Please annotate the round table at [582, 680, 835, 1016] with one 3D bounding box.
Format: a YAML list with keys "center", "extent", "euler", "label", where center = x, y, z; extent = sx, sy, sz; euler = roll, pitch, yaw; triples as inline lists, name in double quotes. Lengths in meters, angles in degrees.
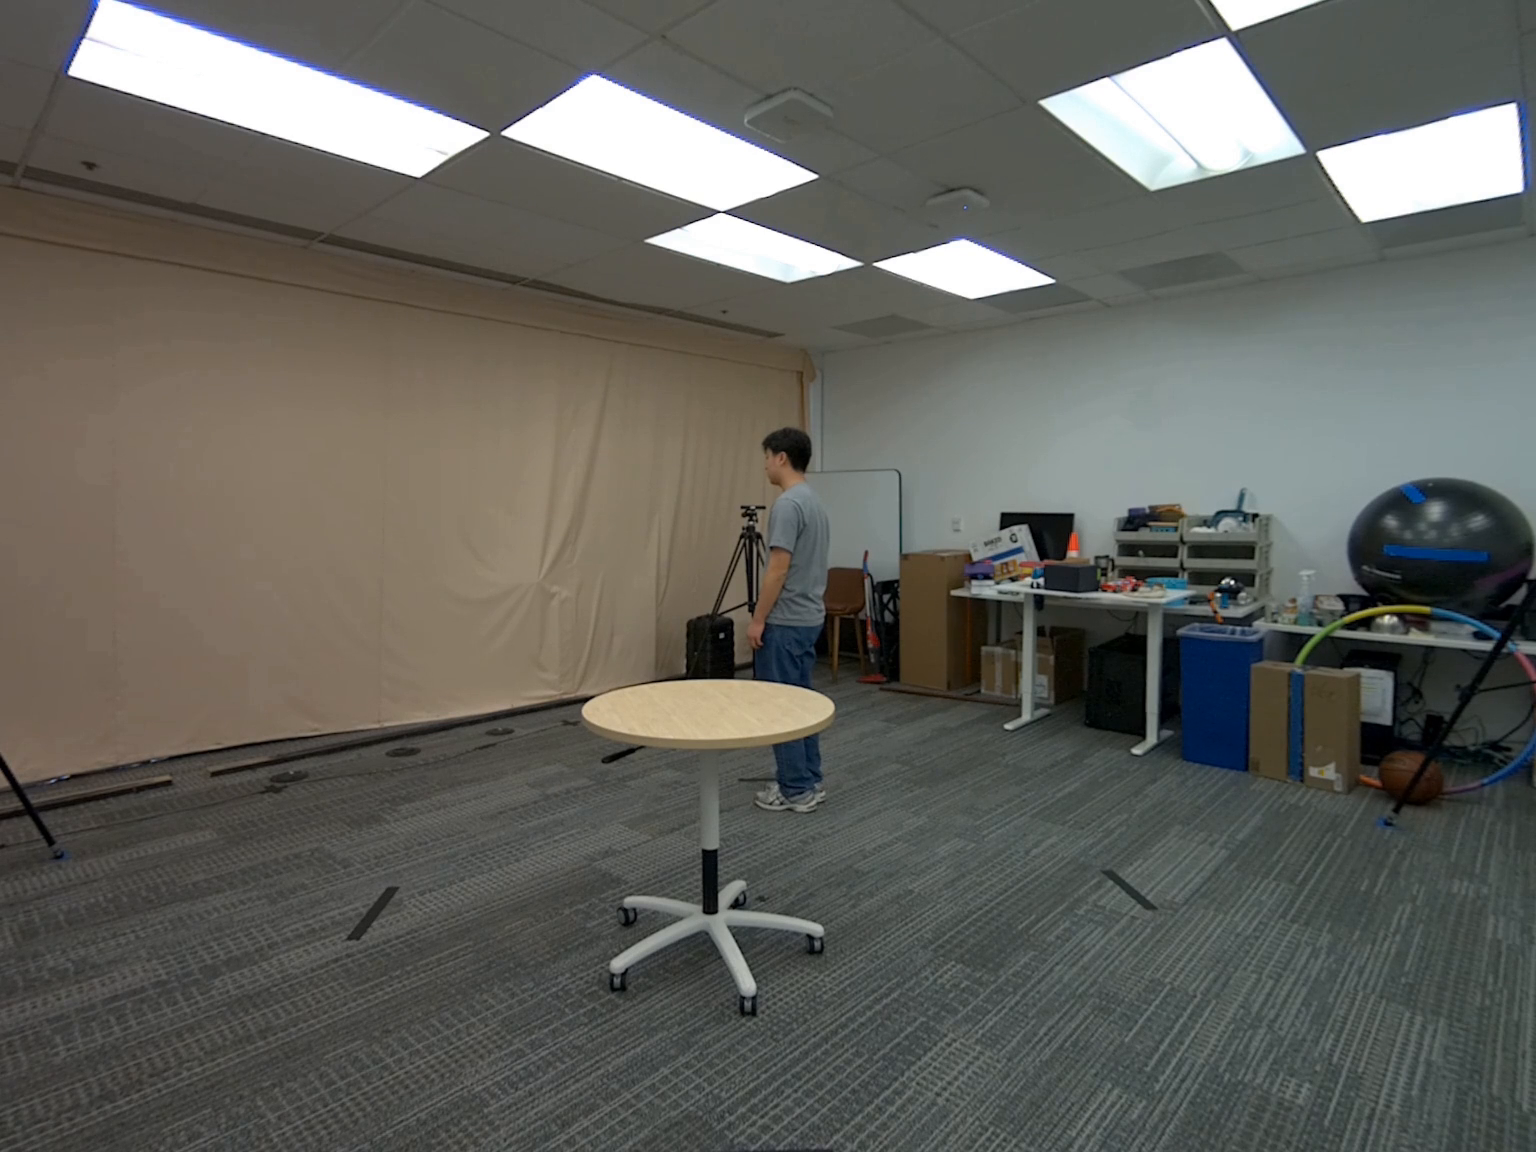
- center: [-0.179, 0.789, 2.586]
  extent: [0.763, 0.792, 0.766]
  euler: [-1, 4, -2]
  label: "round table"
